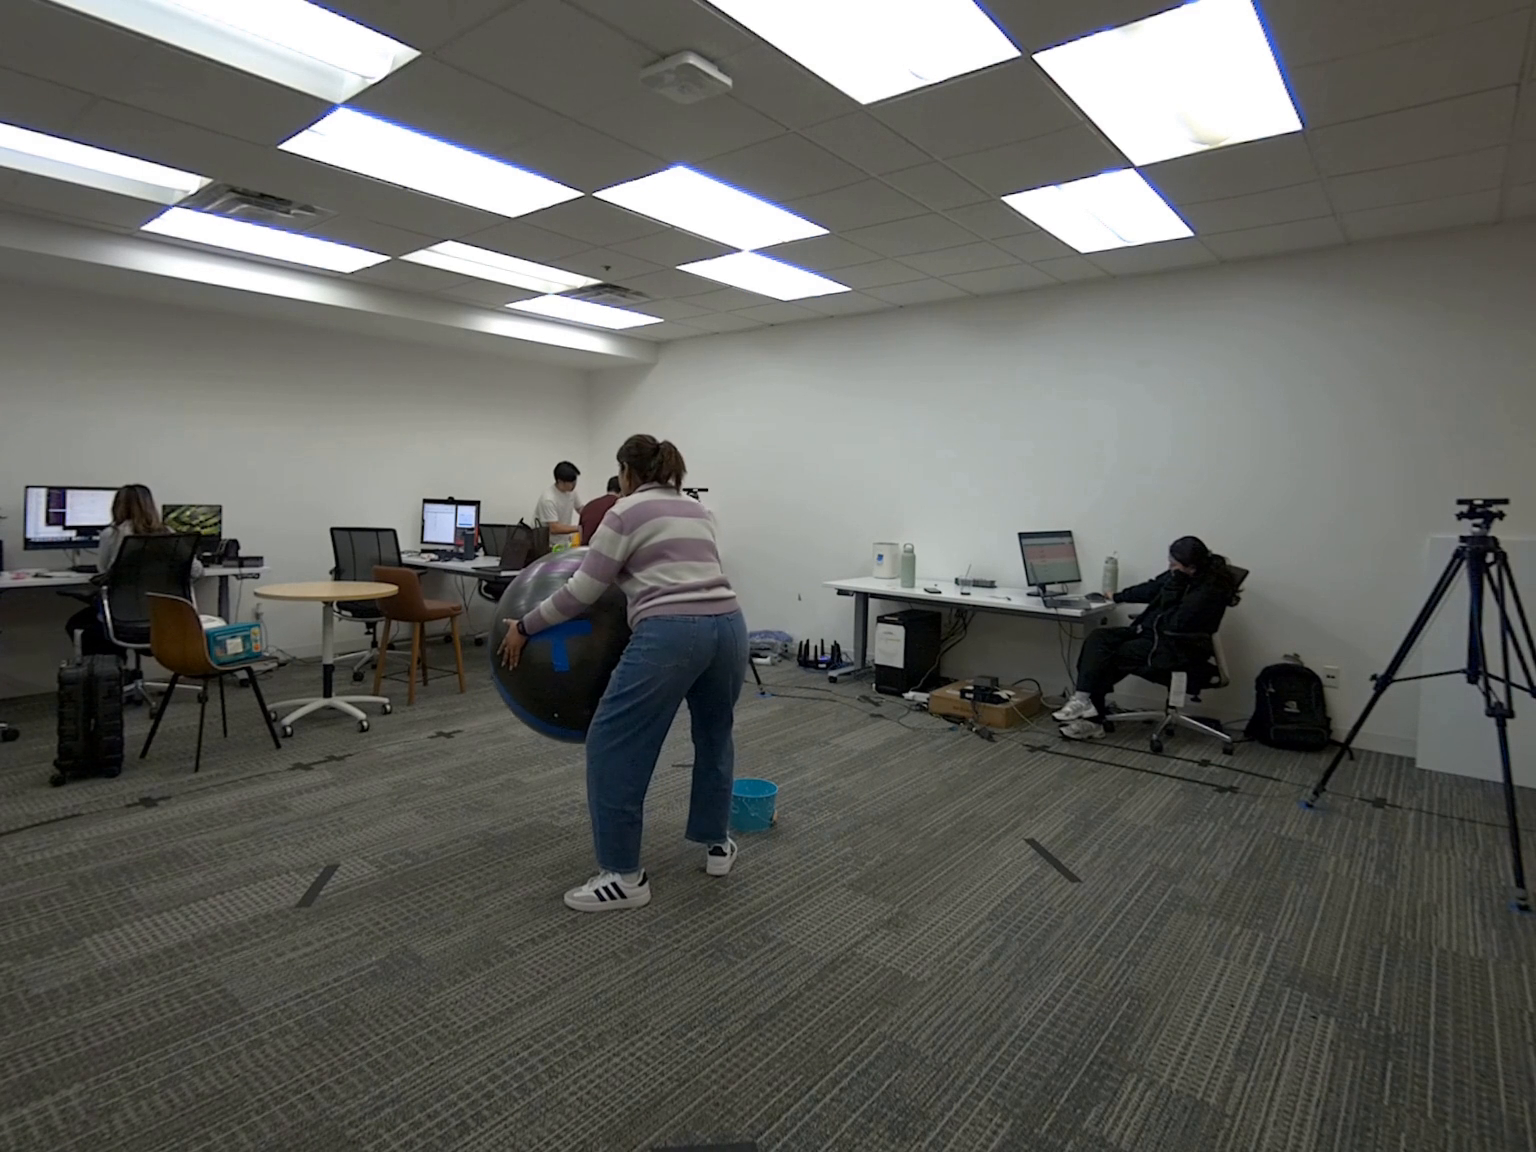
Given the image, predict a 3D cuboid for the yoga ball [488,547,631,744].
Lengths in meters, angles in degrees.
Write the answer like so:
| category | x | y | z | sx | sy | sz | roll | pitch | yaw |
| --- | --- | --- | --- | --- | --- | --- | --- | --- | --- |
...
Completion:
| category | x | y | z | sx | sy | sz | roll | pitch | yaw |
| --- | --- | --- | --- | --- | --- | --- | --- | --- | --- |
| yoga ball | -0.722 | 0.272 | 3.319 | 0.757 | 0.756 | 0.761 | 1 | 4 | -2 |
